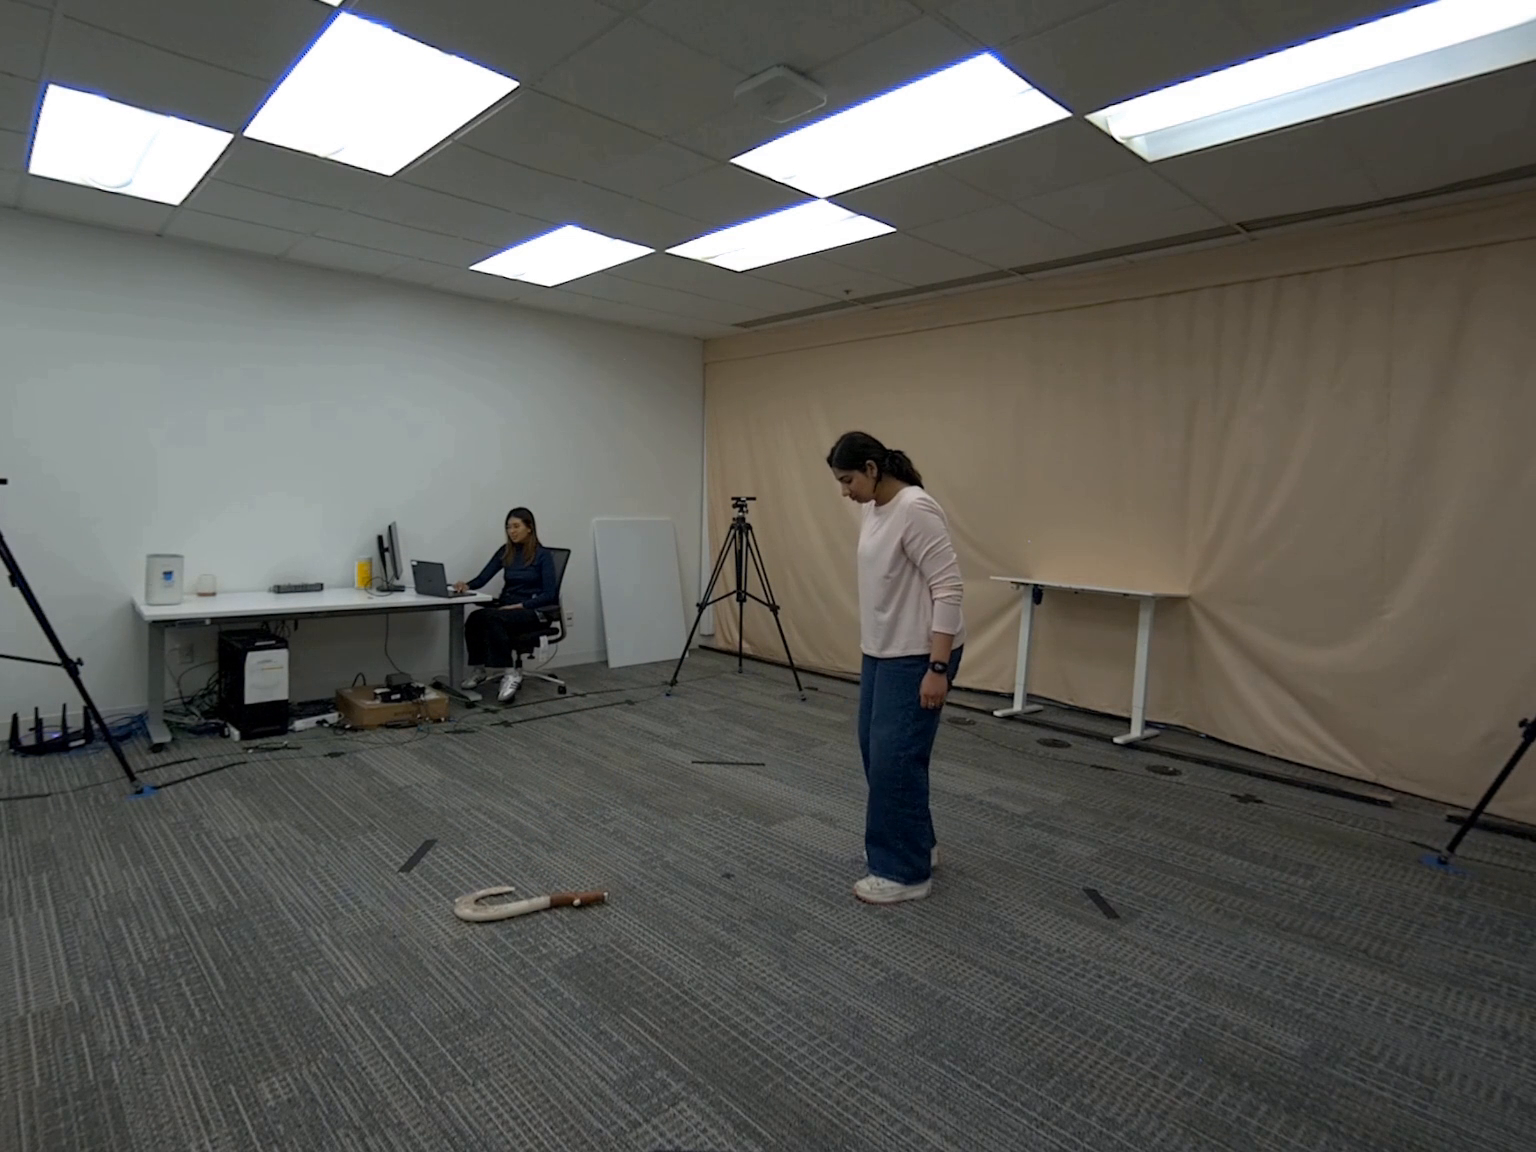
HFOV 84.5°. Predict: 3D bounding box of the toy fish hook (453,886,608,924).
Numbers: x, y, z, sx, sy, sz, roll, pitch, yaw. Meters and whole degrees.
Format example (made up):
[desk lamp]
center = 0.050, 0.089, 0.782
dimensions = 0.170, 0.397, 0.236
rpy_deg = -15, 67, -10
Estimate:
[toy fish hook]
center = -0.801, 1.093, 2.857
dimensions = 0.500, 0.048, 0.228
rpy_deg = 0, 6, -16
